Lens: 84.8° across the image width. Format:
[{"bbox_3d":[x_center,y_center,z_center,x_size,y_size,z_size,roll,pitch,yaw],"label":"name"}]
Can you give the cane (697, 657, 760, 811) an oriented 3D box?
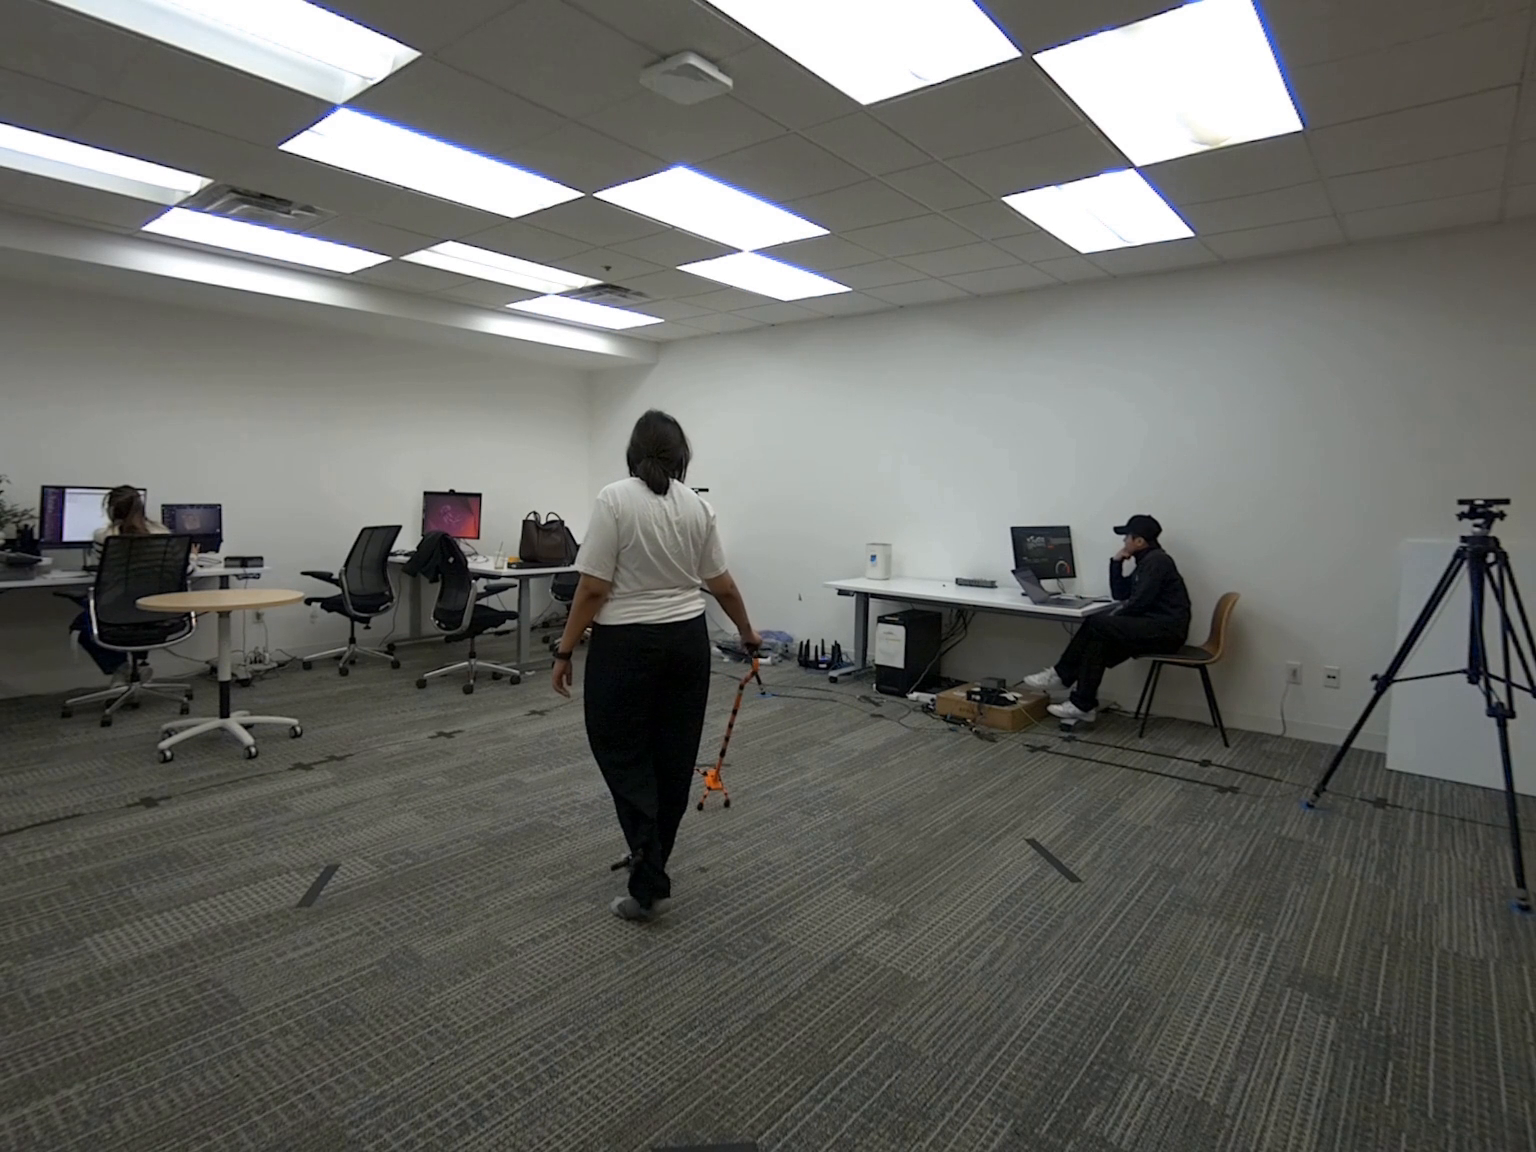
[{"bbox_3d":[-0.181,0.607,3.512,0.149,0.890,0.214,0,41,-19],"label":"cane"}]
